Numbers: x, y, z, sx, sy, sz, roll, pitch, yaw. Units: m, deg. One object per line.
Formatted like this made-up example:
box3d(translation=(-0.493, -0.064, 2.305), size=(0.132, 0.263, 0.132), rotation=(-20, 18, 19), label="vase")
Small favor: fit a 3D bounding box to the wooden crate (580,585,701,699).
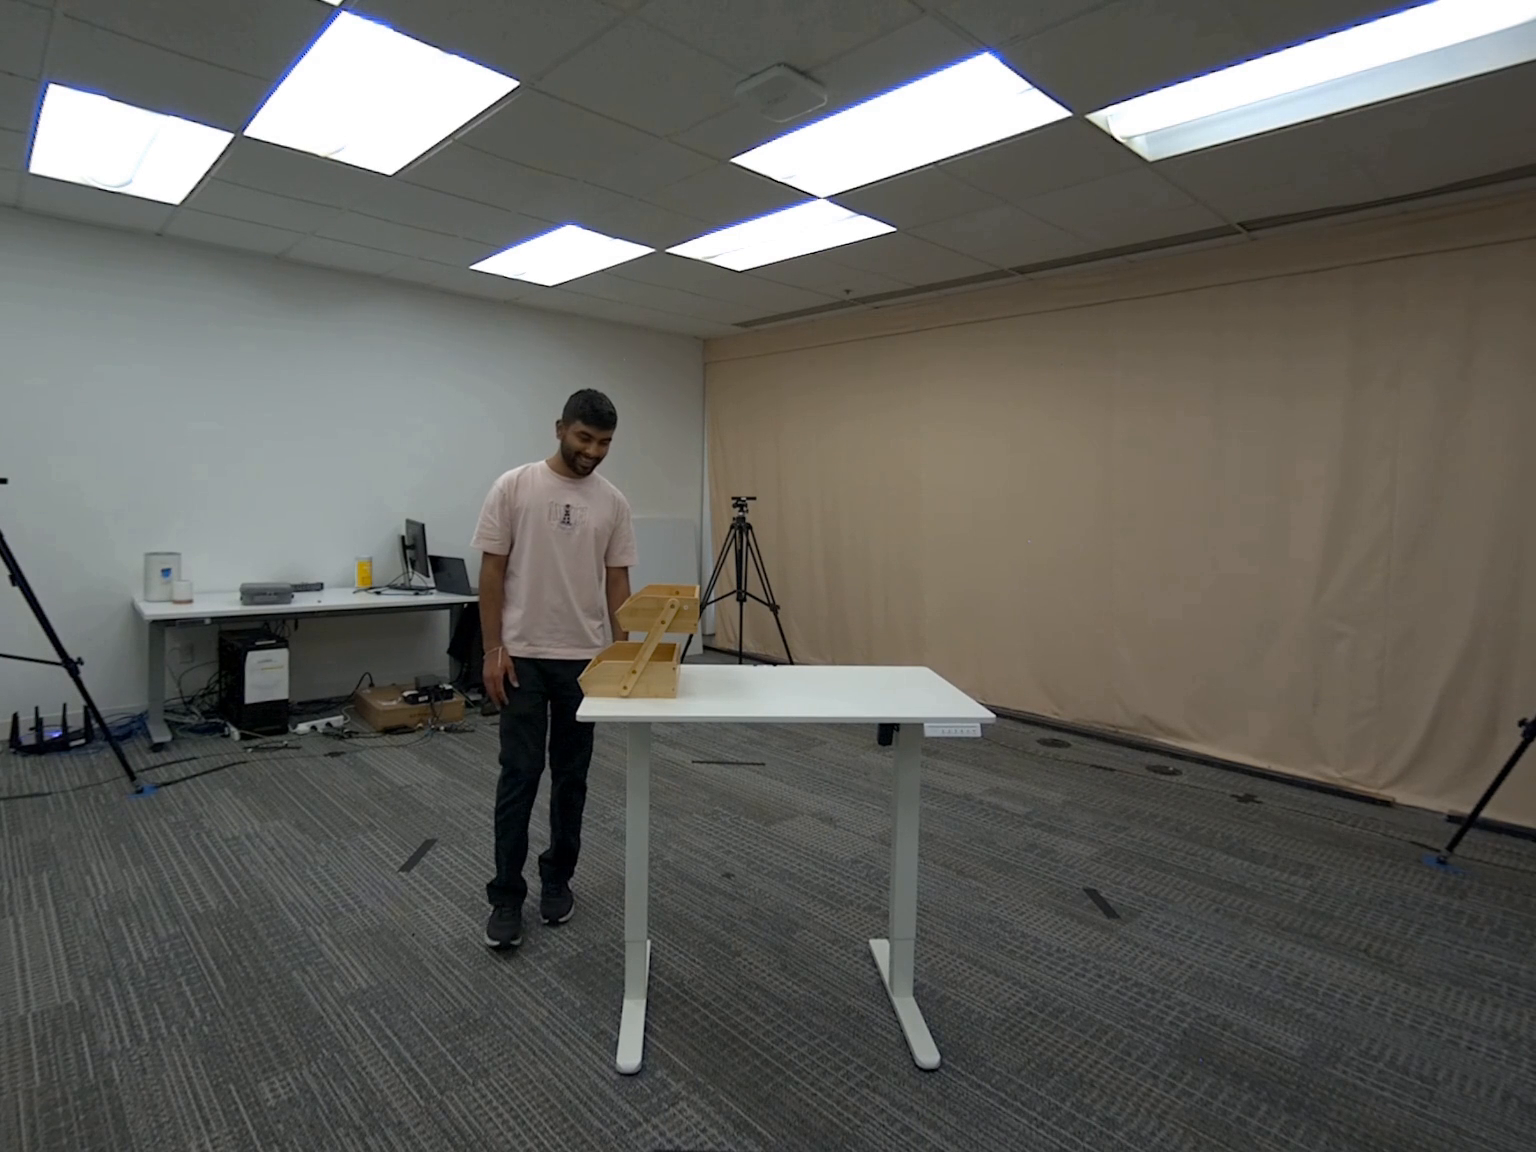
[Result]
box3d(translation=(-0.349, 0.170, 2.263), size=(0.301, 0.272, 0.326), rotation=(1, 4, -3), label="wooden crate")
